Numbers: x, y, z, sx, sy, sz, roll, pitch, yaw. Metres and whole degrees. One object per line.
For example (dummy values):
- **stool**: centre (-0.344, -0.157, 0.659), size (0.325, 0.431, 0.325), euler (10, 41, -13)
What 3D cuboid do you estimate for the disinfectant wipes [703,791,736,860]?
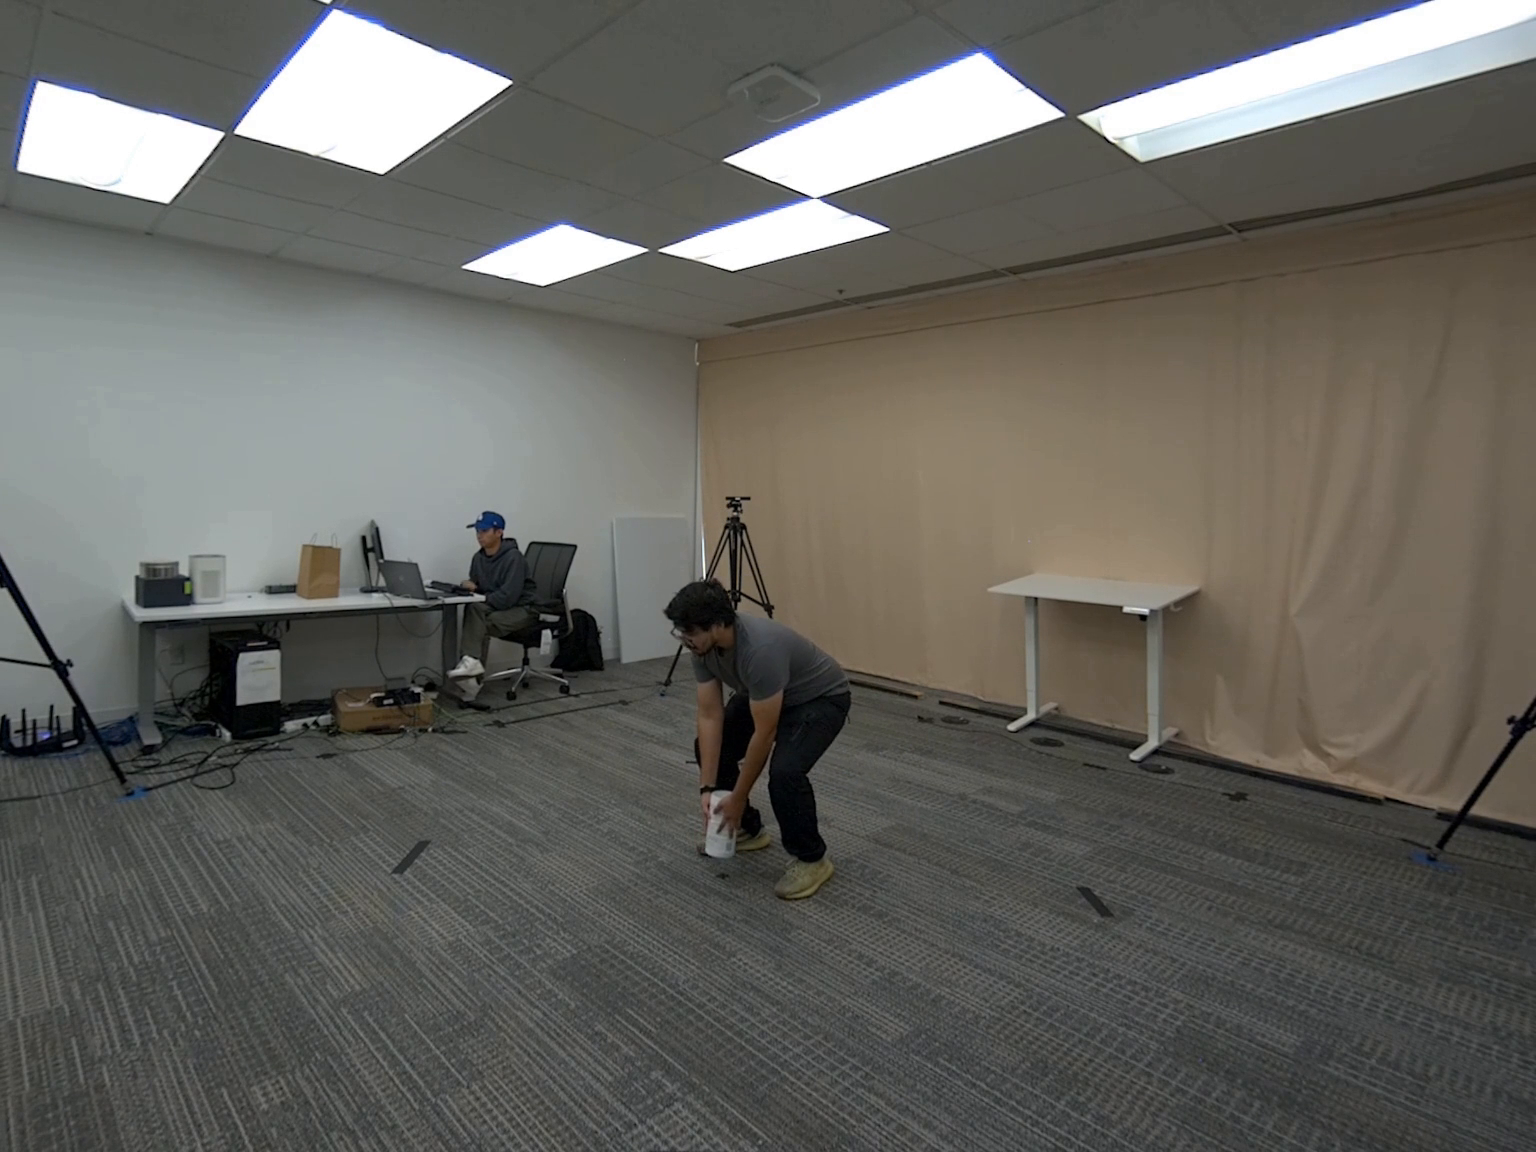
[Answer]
- **disinfectant wipes**: centre (-0.174, 0.904, 3.077), size (0.118, 0.217, 0.118), euler (4, 2, -2)
